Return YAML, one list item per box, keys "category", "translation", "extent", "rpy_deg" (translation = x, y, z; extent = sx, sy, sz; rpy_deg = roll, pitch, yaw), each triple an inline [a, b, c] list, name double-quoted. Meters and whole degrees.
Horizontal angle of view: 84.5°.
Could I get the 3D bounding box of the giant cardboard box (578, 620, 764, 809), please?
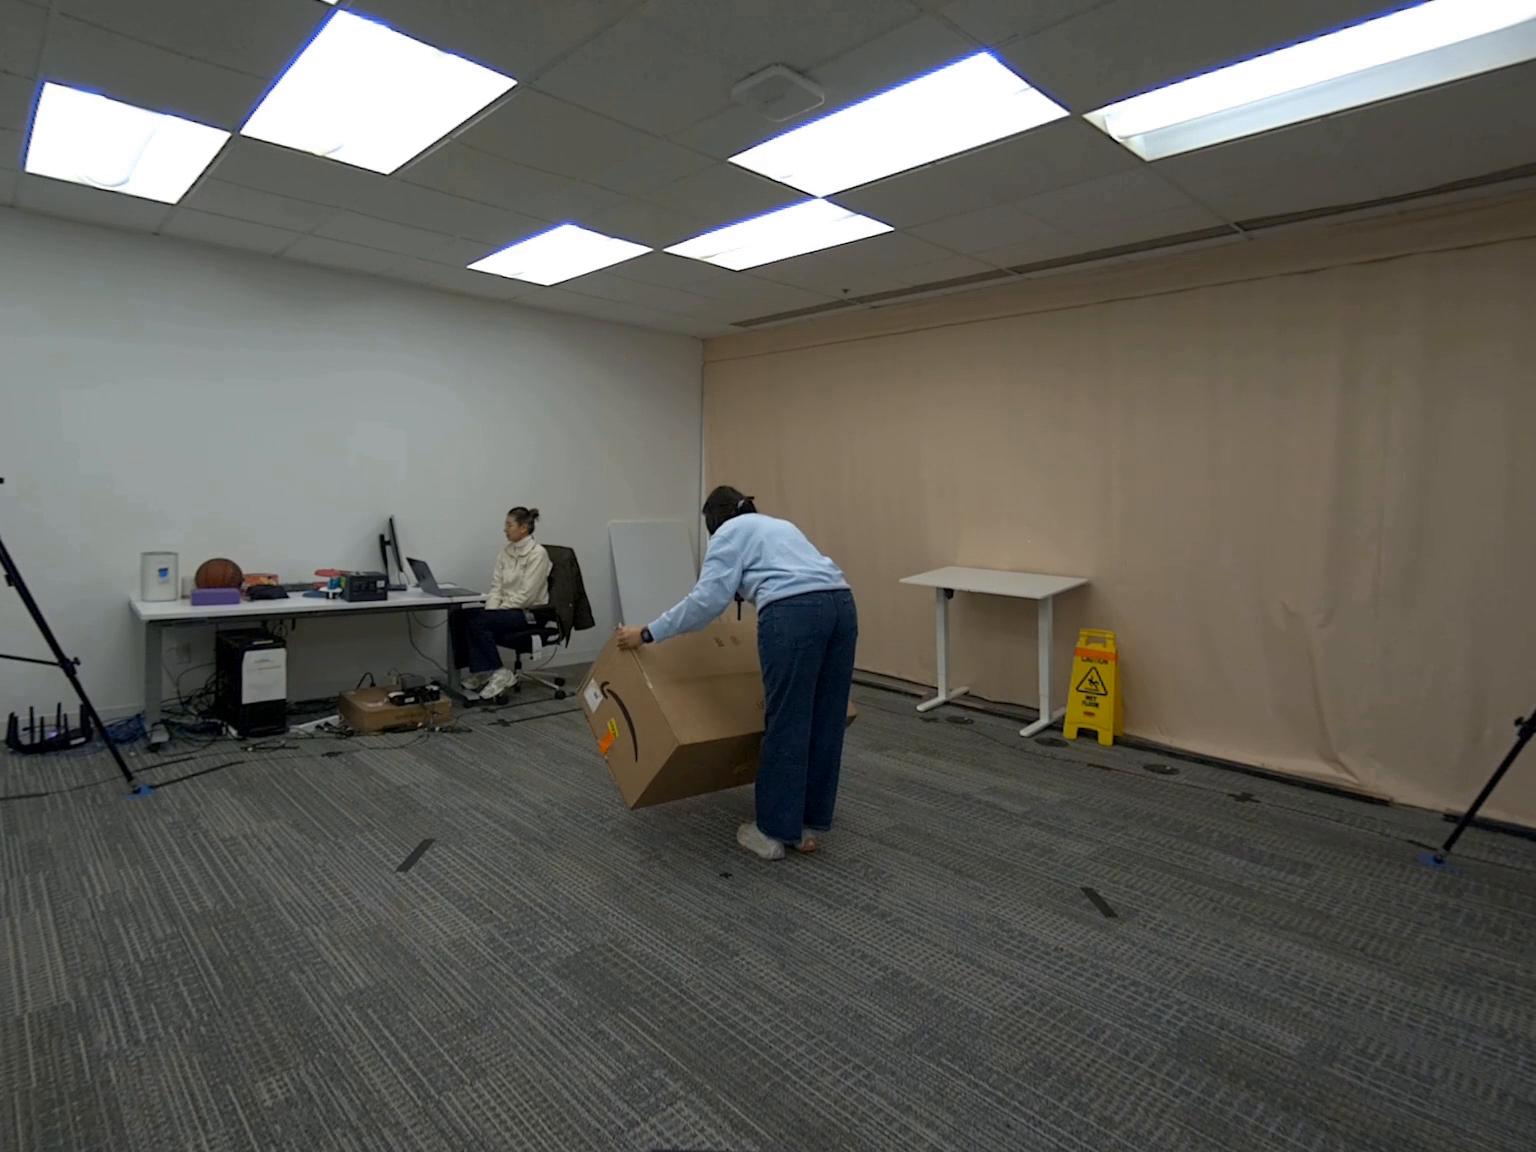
- category: "giant cardboard box"
  translation: [-0.208, 0.550, 3.612]
  extent: [1.001, 0.424, 0.594]
  rpy_deg: [0, 44, -44]
